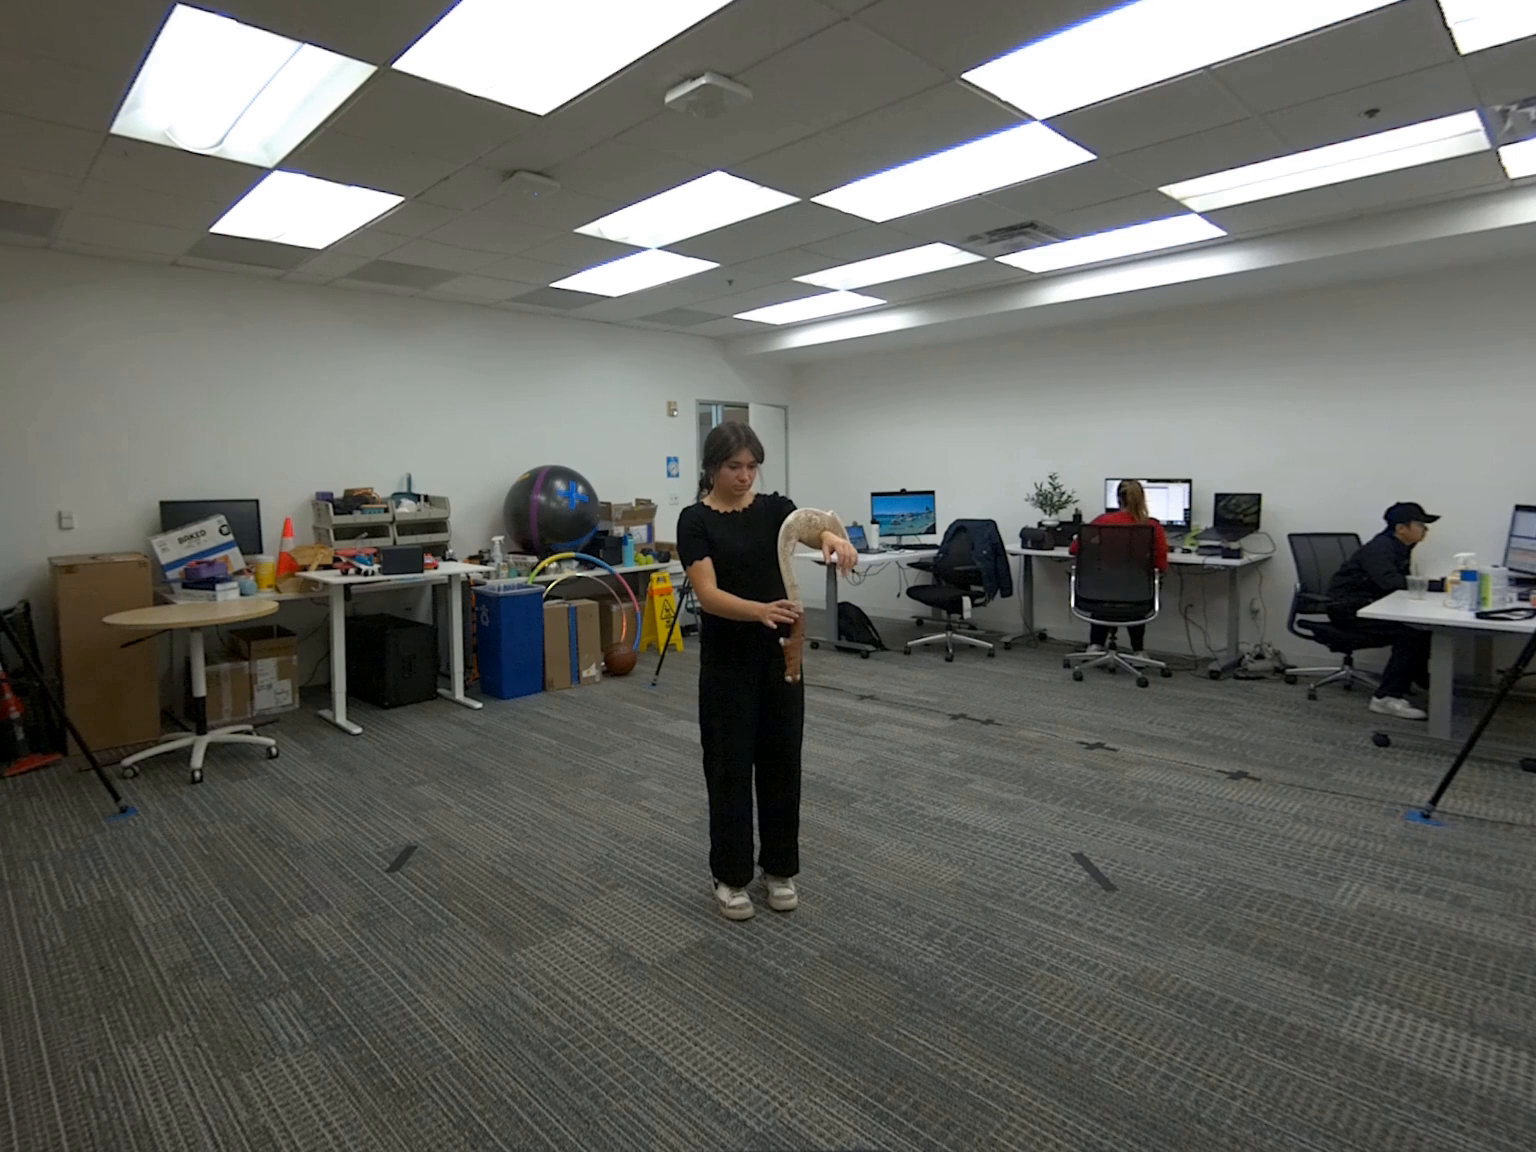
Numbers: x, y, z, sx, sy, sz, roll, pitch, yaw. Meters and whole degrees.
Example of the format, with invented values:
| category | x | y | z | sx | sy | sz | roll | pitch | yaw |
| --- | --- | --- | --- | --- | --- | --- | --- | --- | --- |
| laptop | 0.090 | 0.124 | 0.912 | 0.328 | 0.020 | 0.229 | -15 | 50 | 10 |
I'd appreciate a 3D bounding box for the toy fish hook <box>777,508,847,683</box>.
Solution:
| category | x | y | z | sx | sy | sz | roll | pitch | yaw |
| --- | --- | --- | --- | --- | --- | --- | --- | --- | --- |
| toy fish hook | 0.135 | 0.060 | 2.425 | 0.224 | 0.512 | 0.048 | 4 | -13 | -4 |
